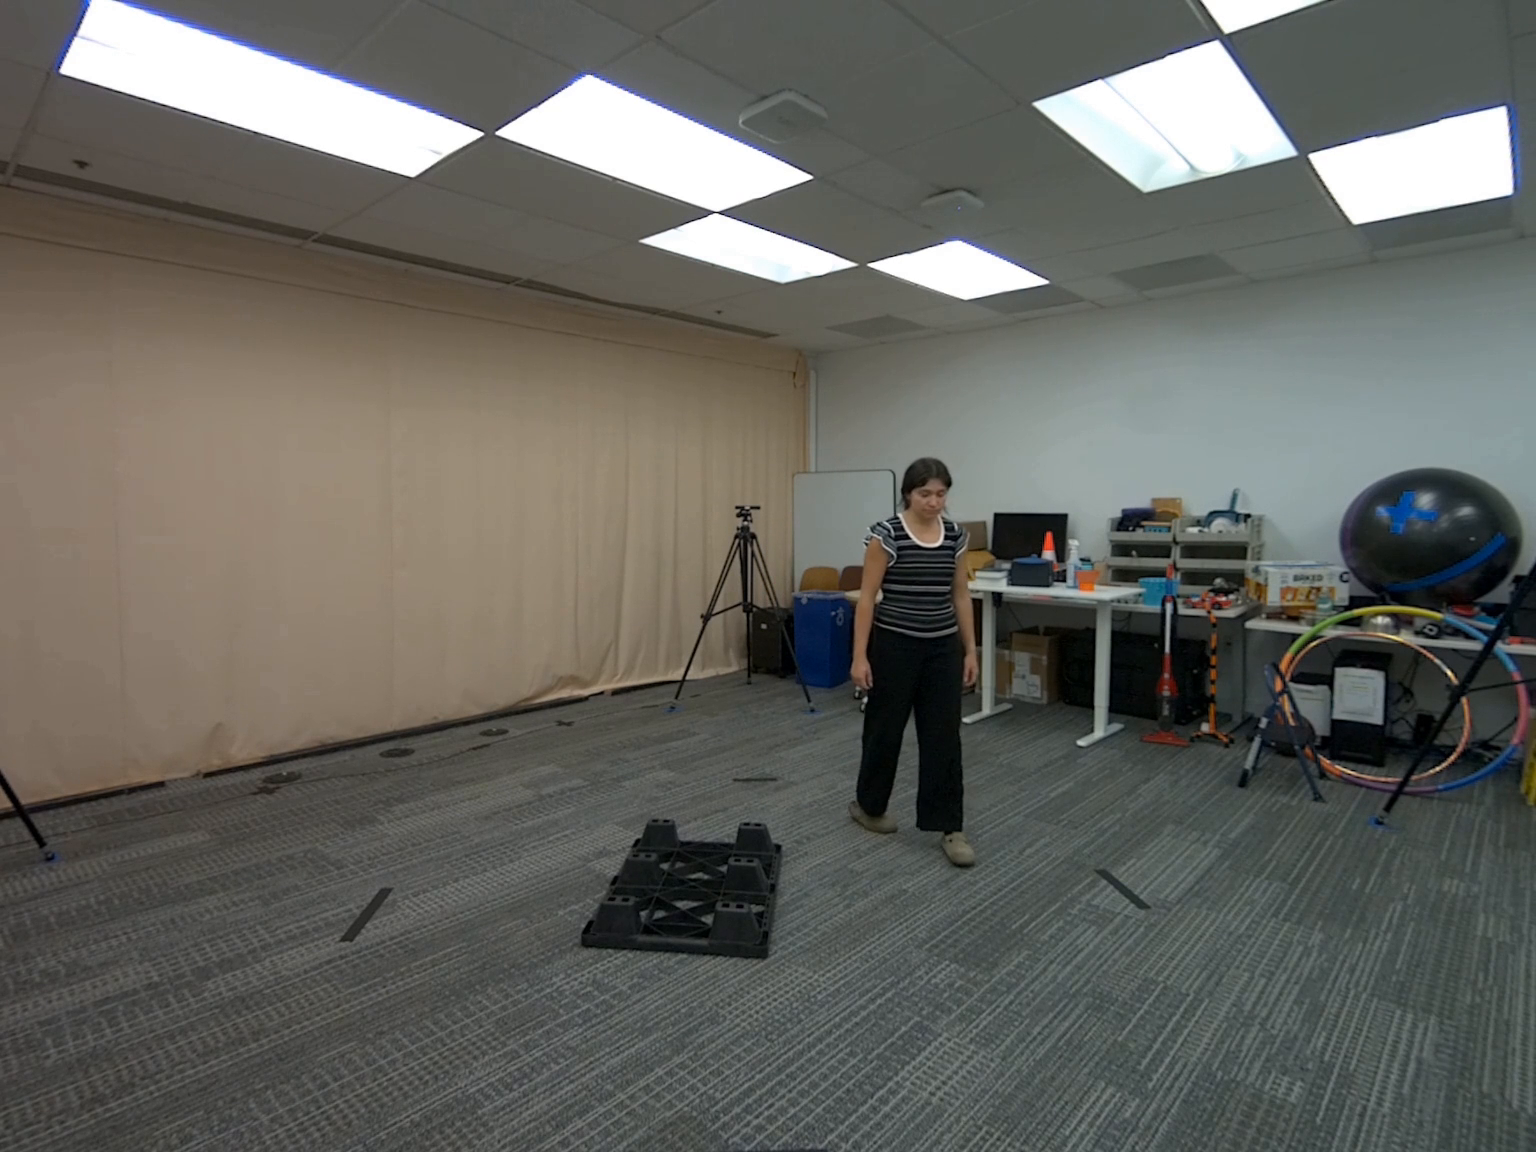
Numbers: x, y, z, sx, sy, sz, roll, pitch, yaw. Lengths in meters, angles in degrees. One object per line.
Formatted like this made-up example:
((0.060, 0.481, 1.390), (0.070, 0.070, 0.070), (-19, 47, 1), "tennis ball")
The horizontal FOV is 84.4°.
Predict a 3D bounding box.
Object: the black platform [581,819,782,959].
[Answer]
((-0.271, 1.075, 3.014), (0.609, 0.143, 0.802), (0, 5, 5), "black platform")
